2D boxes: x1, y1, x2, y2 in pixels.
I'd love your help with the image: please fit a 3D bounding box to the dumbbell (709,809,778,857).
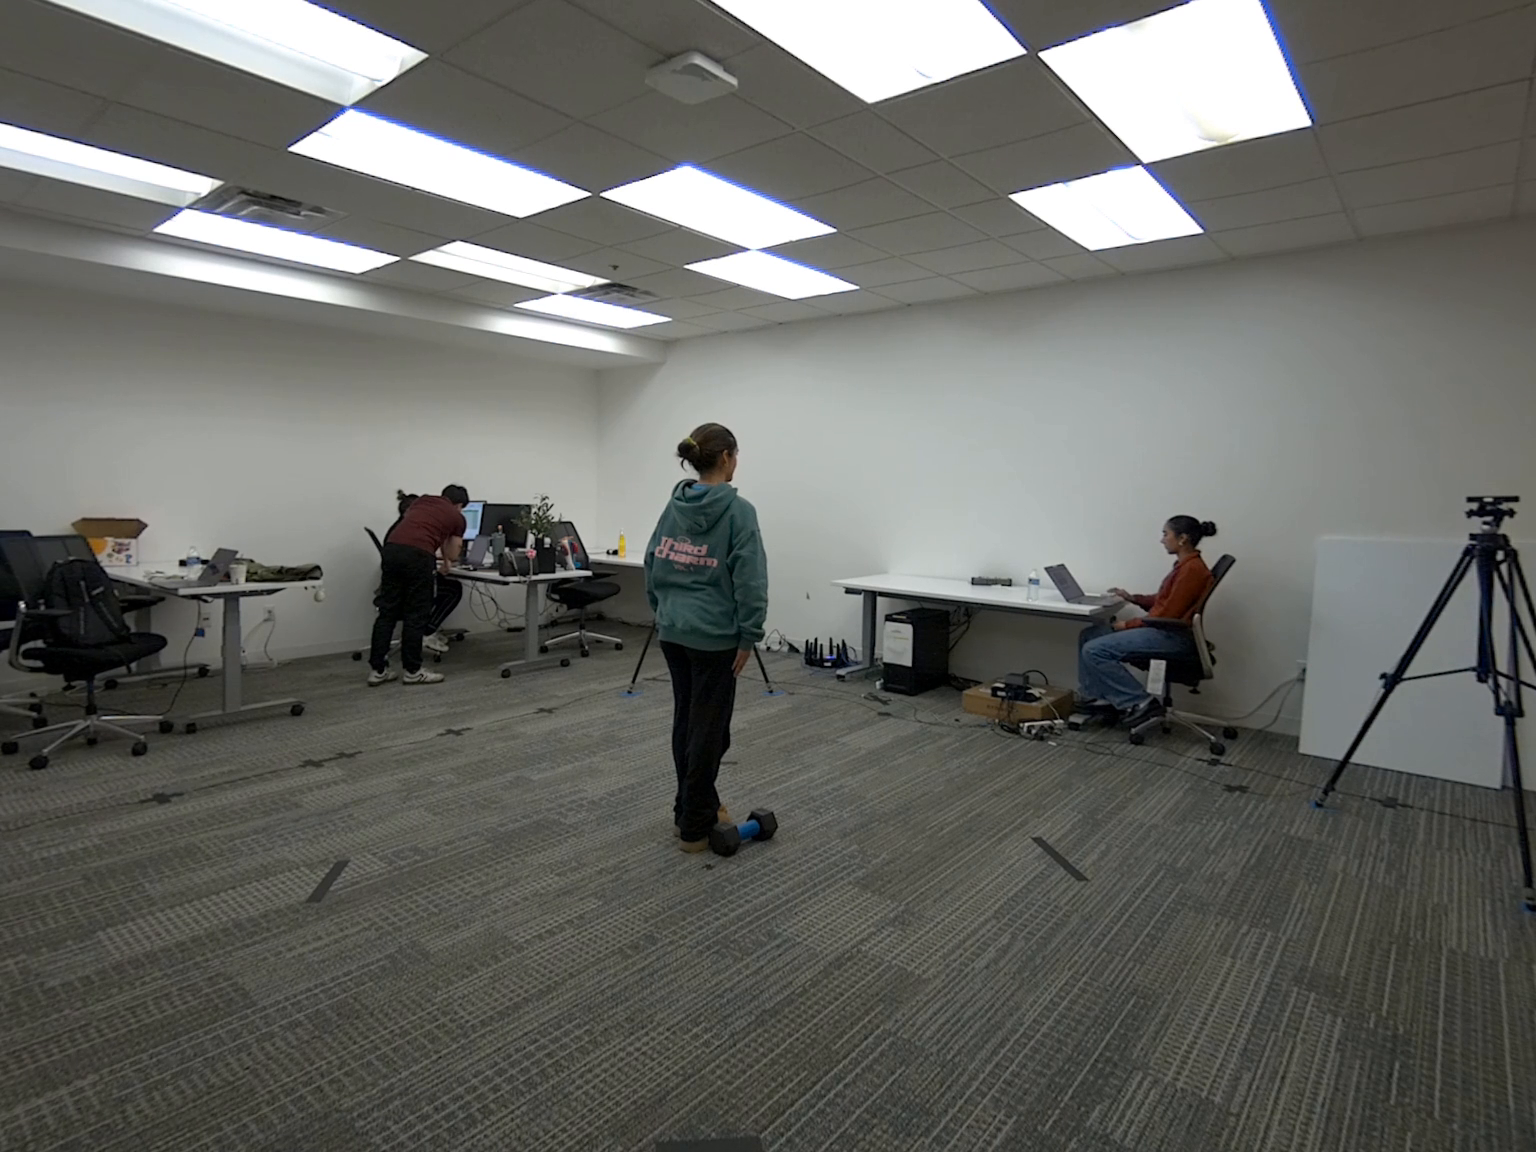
[{"bbox_3d":[-0.101,0.991,3.313,0.285,0.121,0.113,-7,40,-46],"label":"dumbbell"}]
